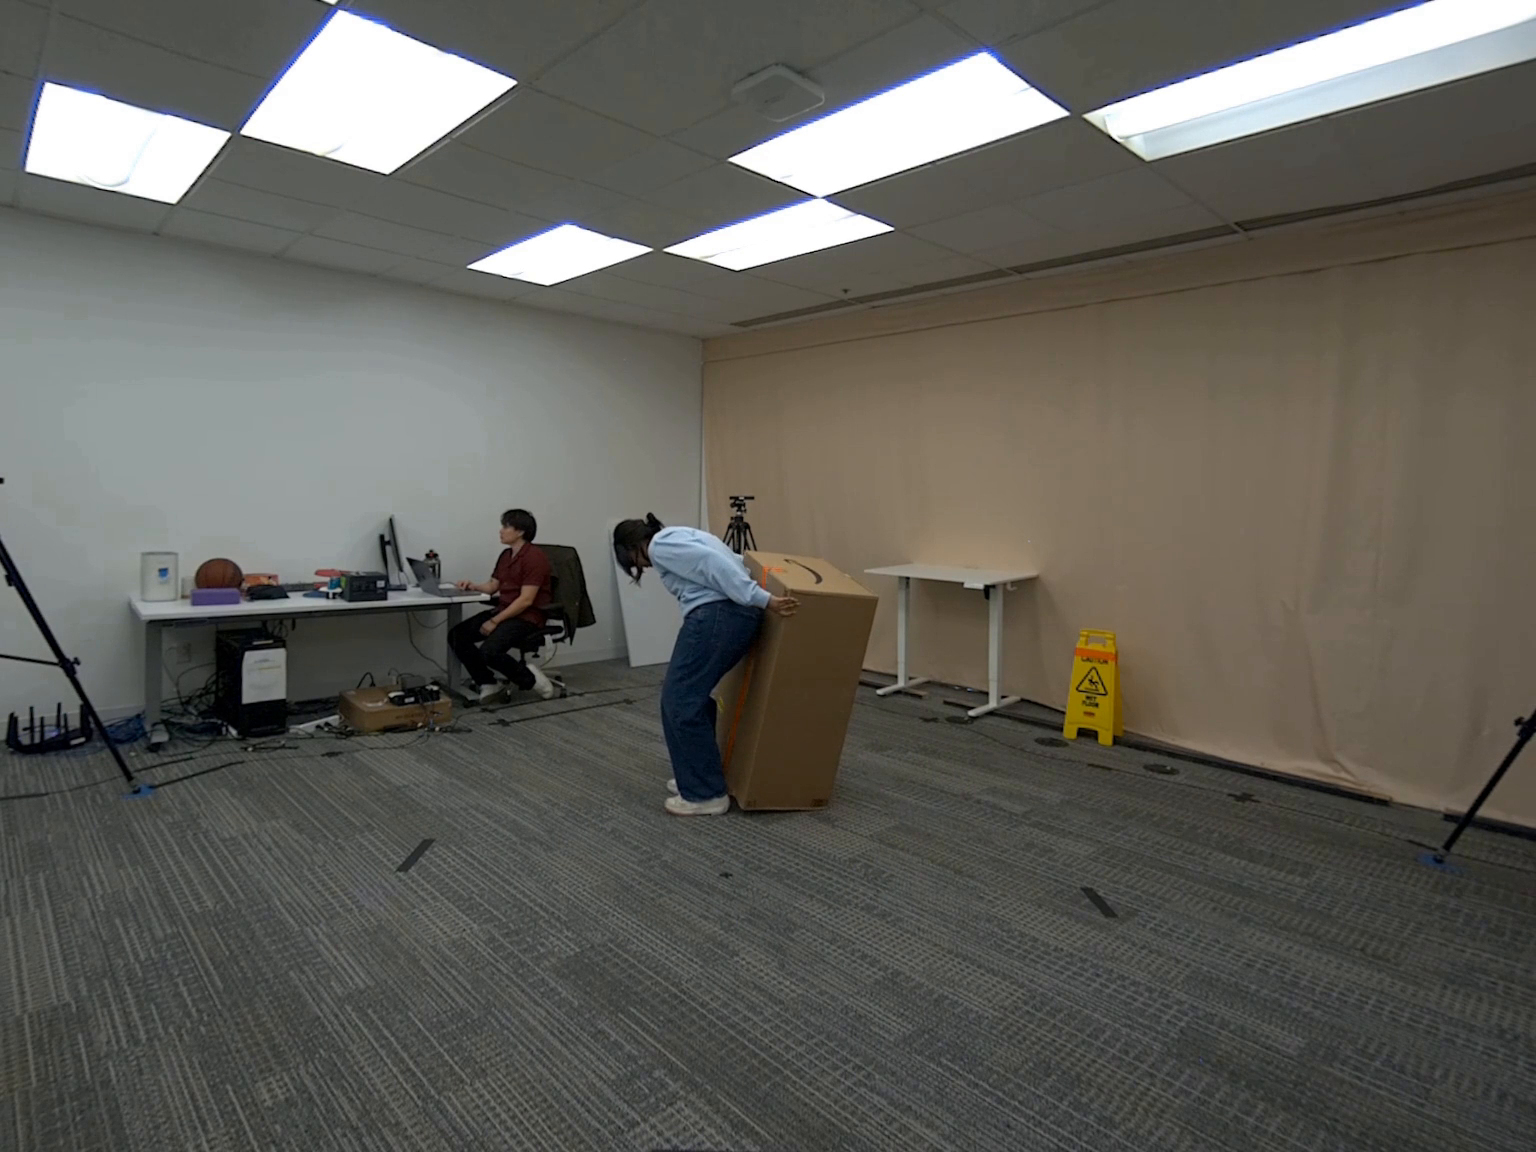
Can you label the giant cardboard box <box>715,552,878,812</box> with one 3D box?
[{"bbox_3d":[0.075,0.470,3.879,0.419,1.018,0.592,6,14,-22],"label":"giant cardboard box"}]
